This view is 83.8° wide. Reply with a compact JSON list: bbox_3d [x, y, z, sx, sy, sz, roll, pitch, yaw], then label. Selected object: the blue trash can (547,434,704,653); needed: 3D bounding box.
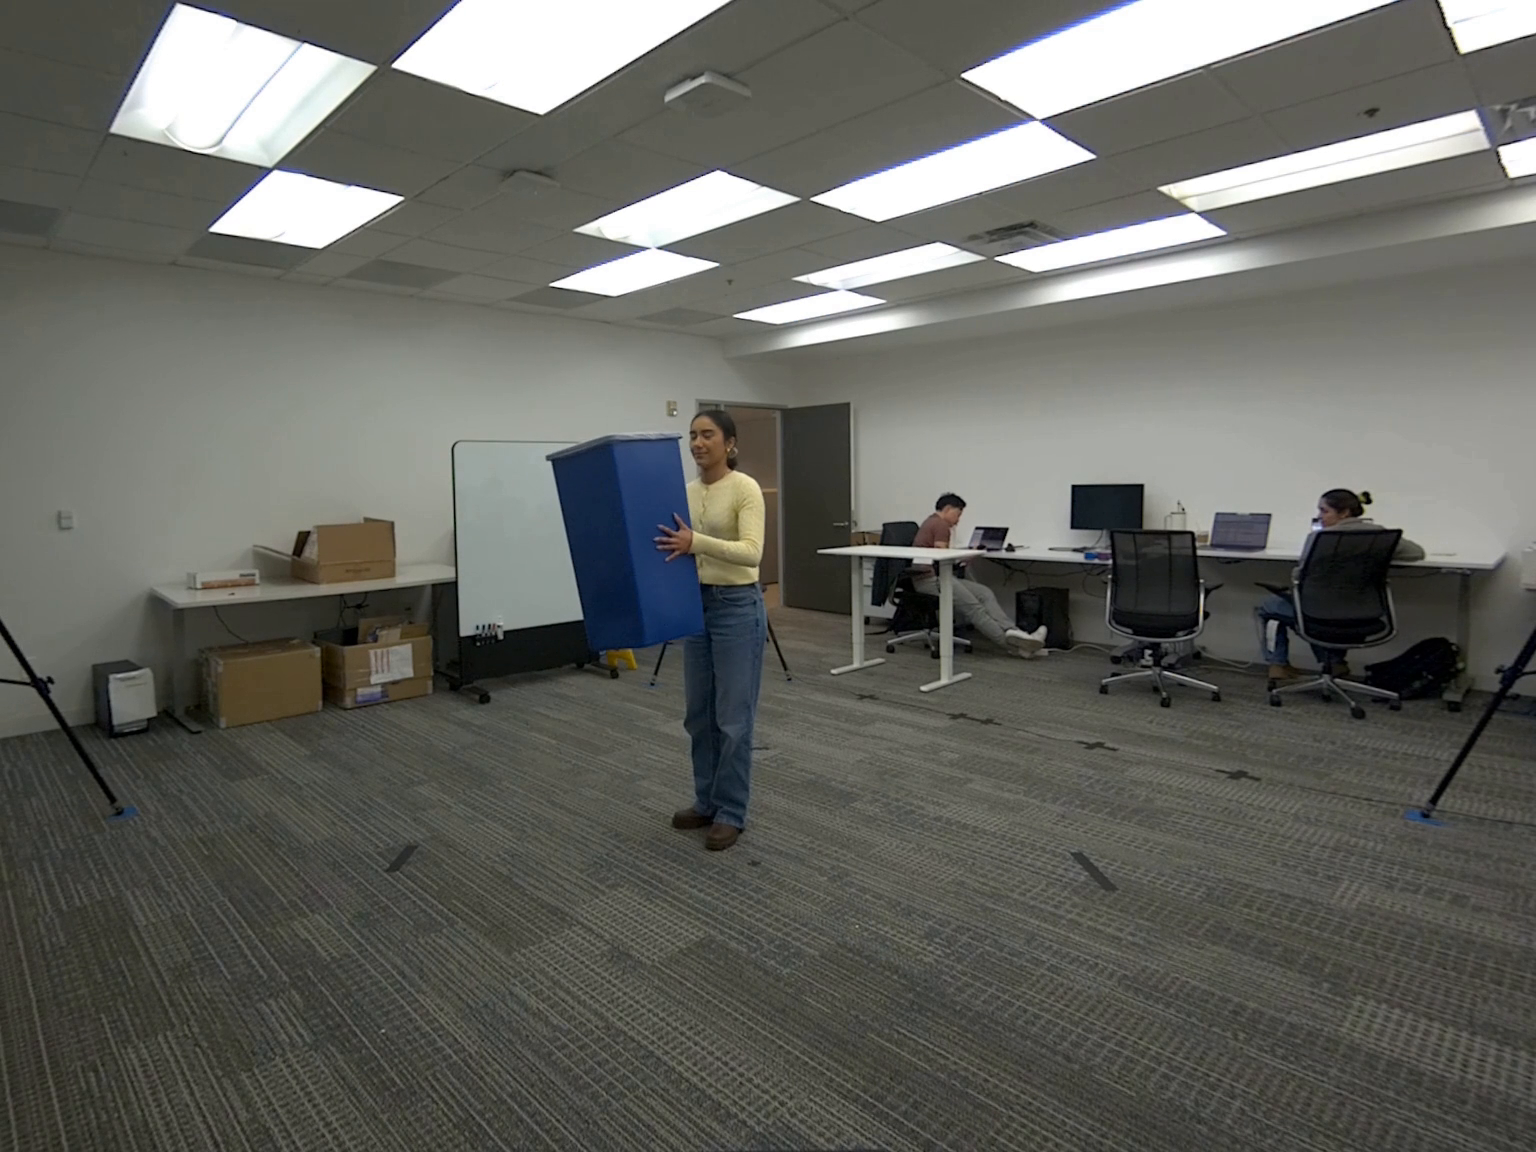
[{"bbox_3d":[-0.485,-0.121,3.021,0.387,0.714,0.365,-10,-1,40],"label":"blue trash can"}]
